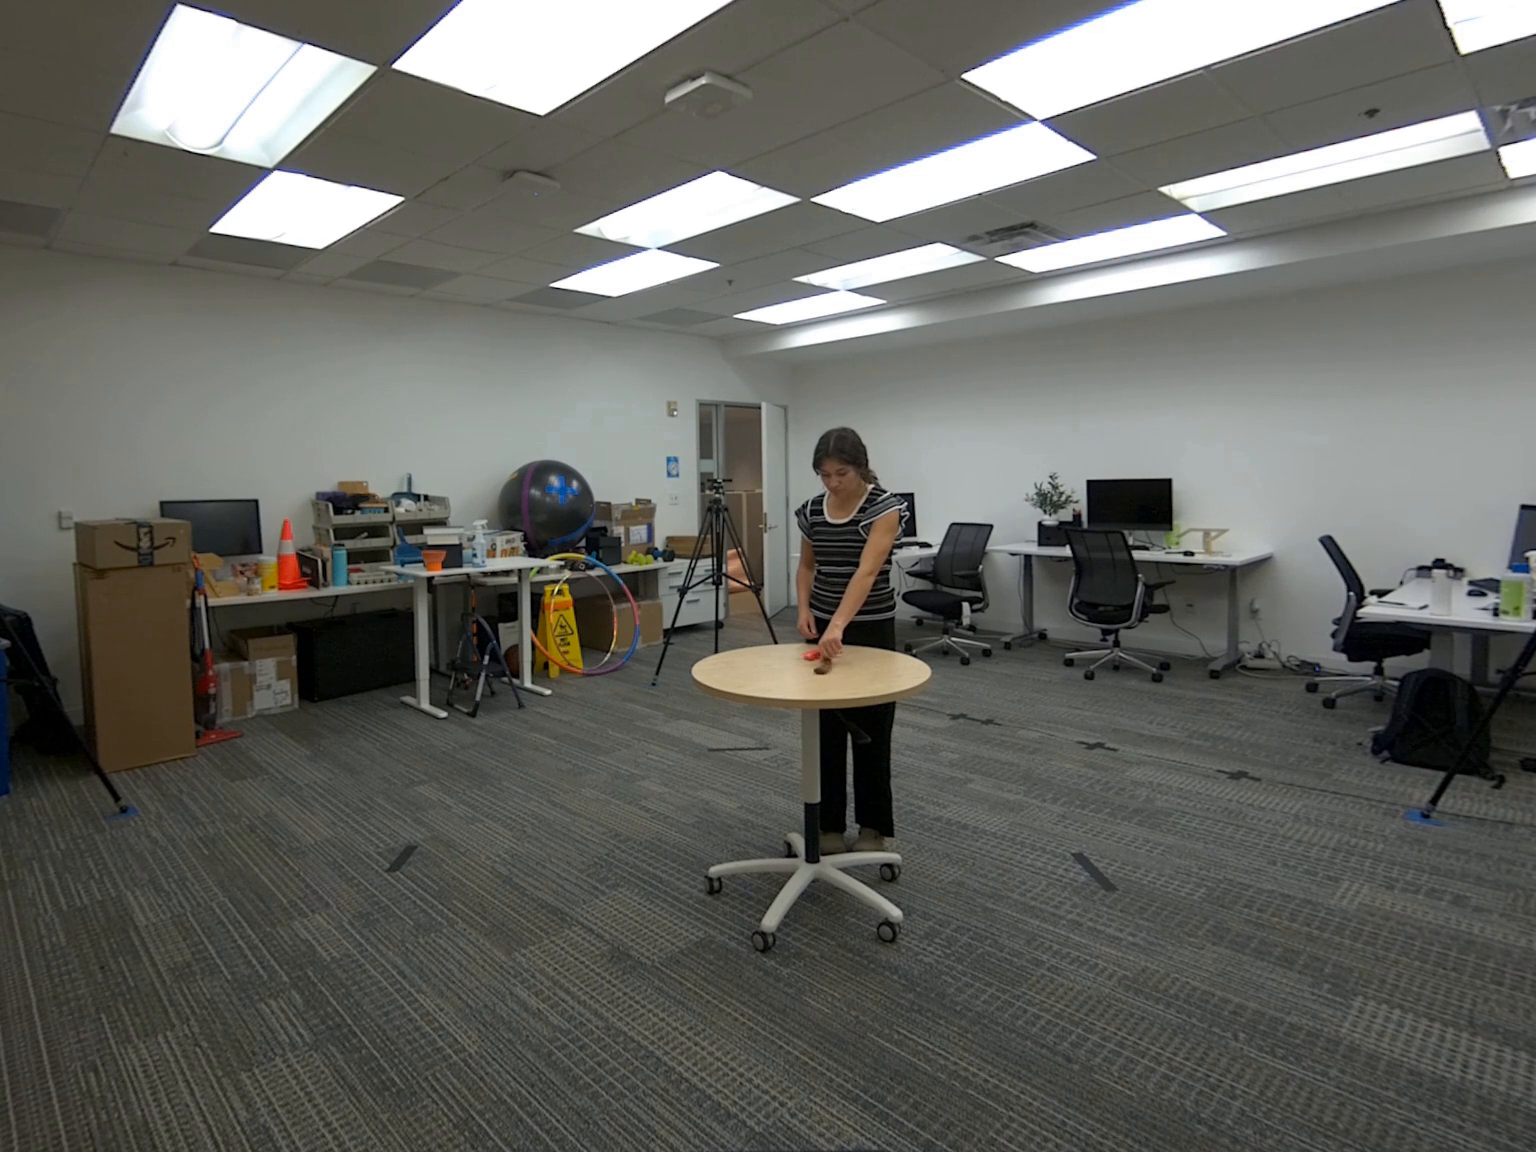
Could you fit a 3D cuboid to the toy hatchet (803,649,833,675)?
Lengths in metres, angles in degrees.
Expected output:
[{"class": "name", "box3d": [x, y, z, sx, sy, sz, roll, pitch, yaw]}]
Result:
[{"class": "toy hatchet", "box3d": [0.169, 0.281, 2.801, 0.133, 0.029, 0.267, 0, 8, 18]}]
